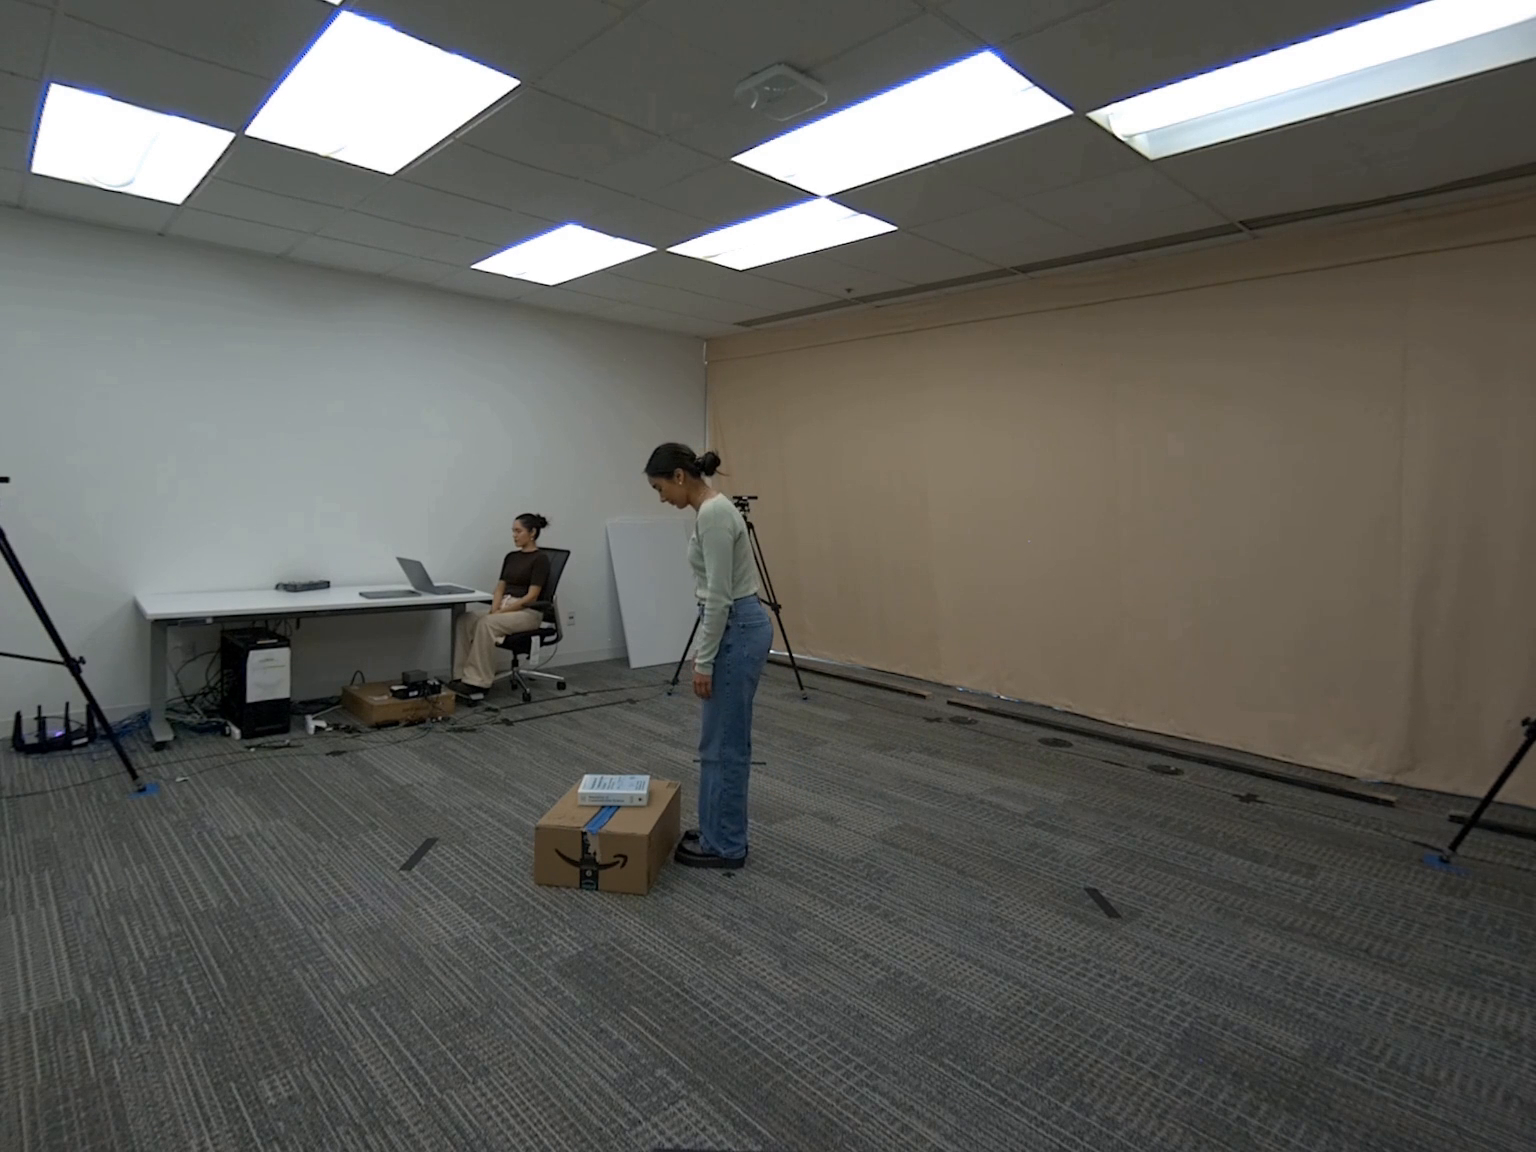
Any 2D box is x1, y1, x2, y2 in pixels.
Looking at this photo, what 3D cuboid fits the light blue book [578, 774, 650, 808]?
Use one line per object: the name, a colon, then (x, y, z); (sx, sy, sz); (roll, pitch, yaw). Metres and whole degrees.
light blue book: (-0.598, 0.830, 3.285); (0.261, 0.059, 0.192); (2, 6, -2)
